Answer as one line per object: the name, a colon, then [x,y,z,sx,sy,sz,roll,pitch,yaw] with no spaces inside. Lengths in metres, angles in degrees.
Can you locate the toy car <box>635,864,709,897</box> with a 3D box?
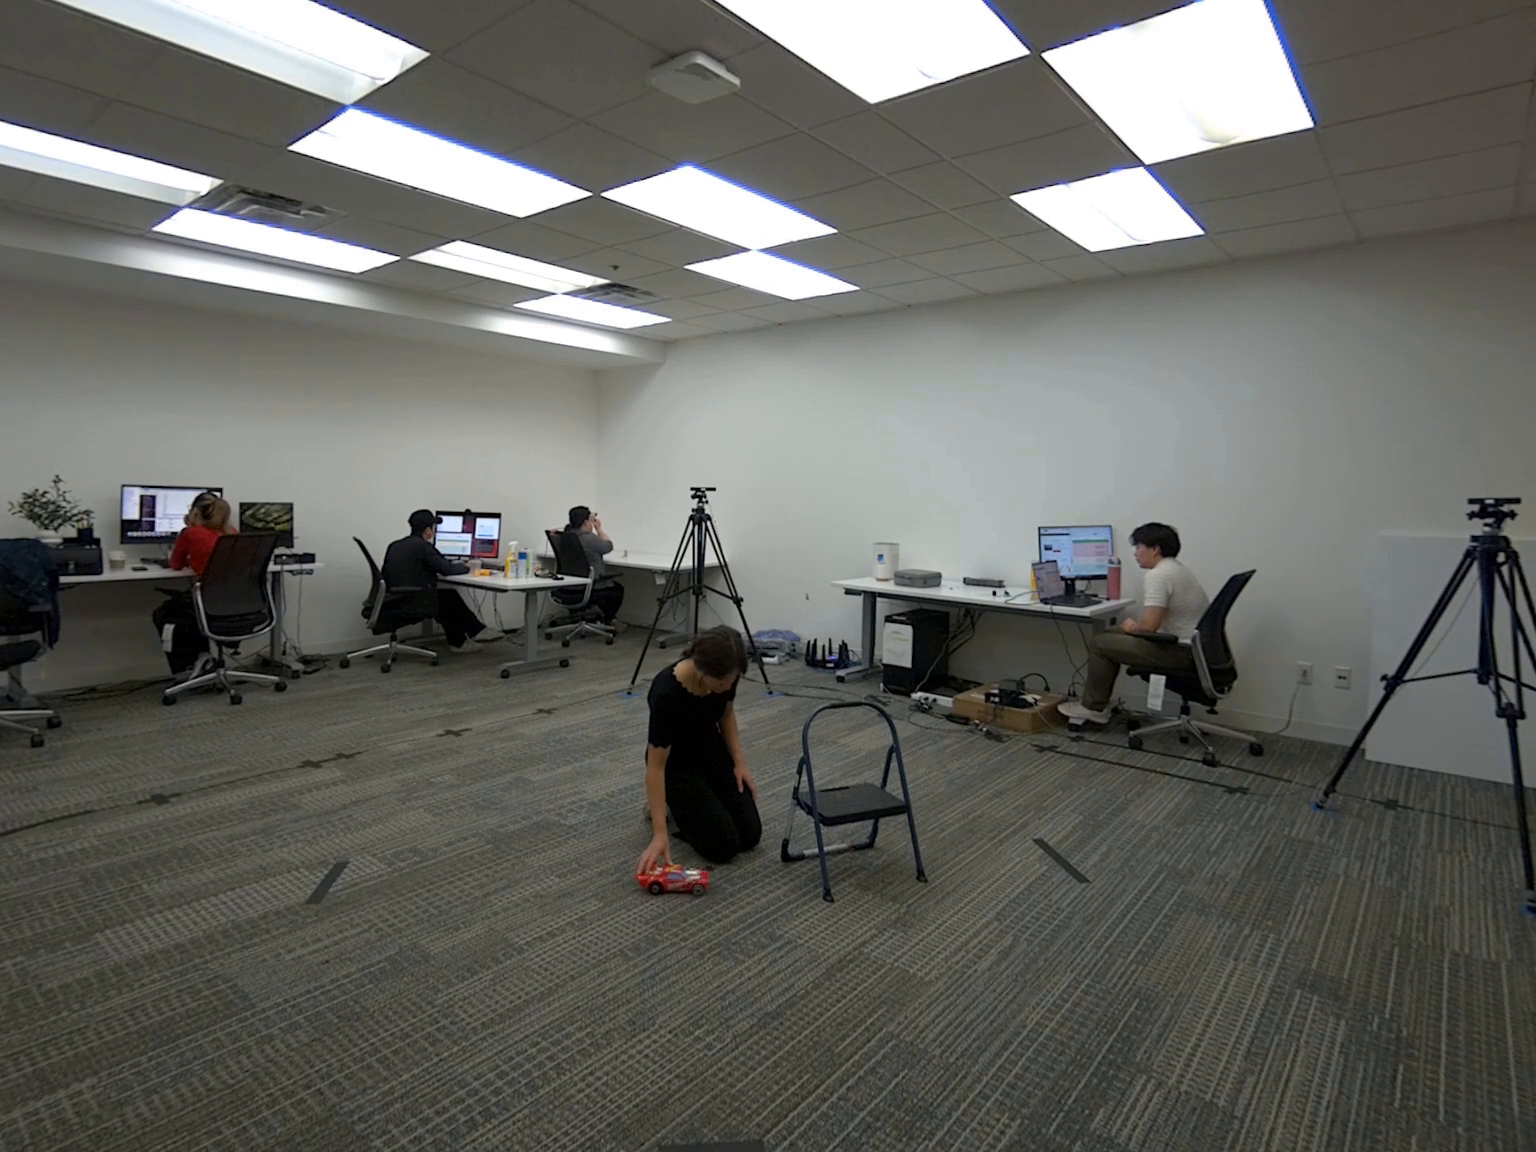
toy car: [-0.346,1.055,2.954,0.254,0.083,0.130,10,2,-1]
